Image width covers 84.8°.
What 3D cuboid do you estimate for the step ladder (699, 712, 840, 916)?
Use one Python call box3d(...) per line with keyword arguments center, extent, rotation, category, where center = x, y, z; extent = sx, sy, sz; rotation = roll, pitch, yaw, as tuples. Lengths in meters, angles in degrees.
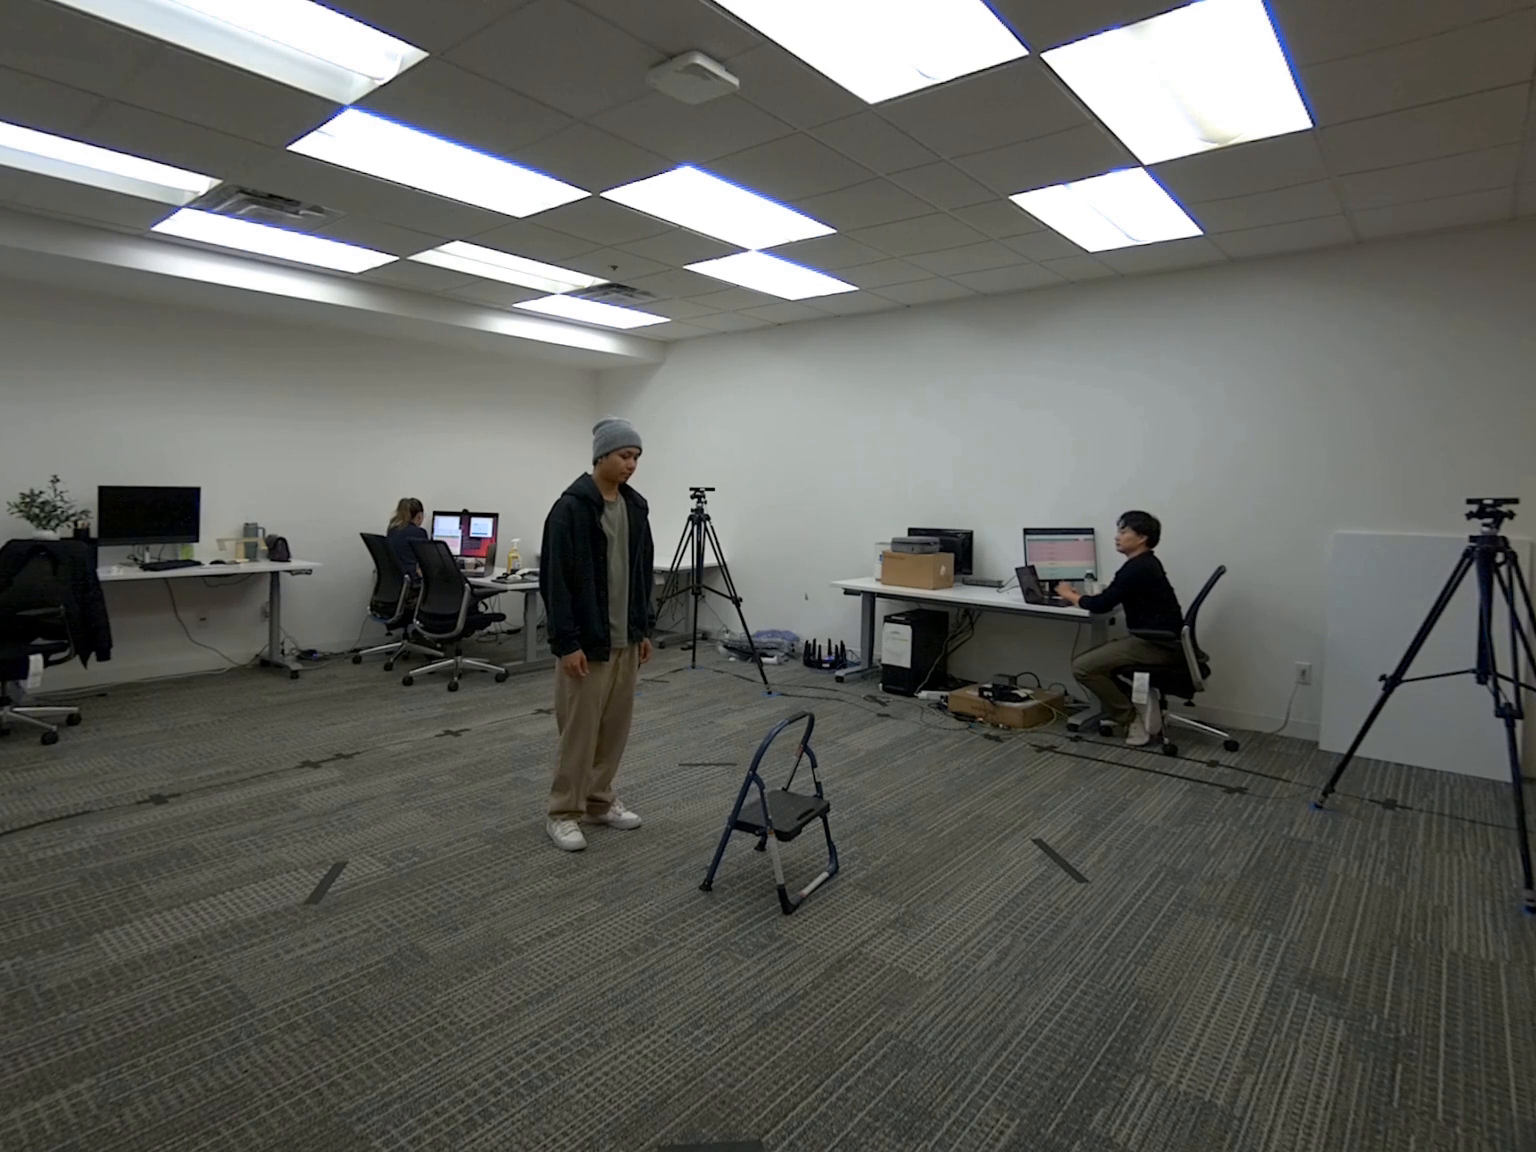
box3d(center=(0.013, 0.775, 3.017), extent=(0.359, 0.604, 0.420), rotation=(3, 4, 29), category="step ladder")
